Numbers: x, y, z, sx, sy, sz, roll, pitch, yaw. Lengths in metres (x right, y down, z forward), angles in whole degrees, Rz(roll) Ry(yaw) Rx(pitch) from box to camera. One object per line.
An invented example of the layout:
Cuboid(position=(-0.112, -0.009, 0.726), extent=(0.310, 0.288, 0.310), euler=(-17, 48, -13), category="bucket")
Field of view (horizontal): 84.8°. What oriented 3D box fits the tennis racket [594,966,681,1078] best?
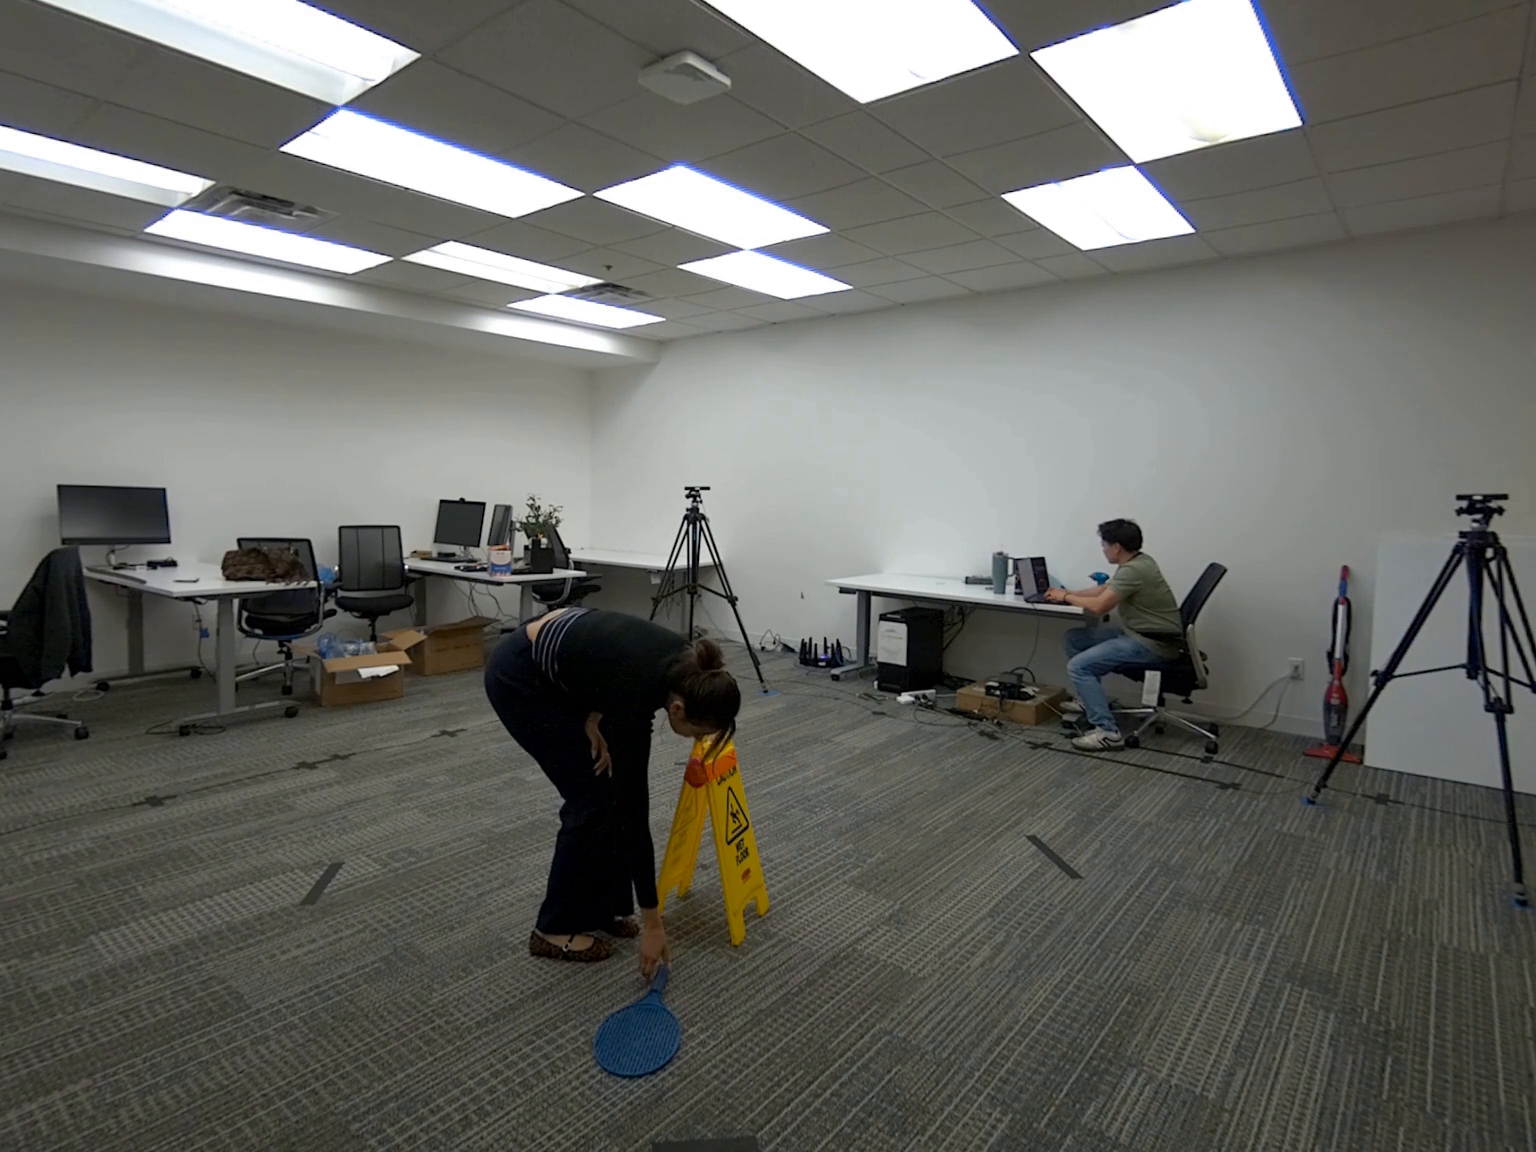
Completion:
Cuboid(position=(-0.326, 1.139, 2.218), extent=(0.215, 0.031, 0.432), euler=(1, 8, 5), category="tennis racket")
